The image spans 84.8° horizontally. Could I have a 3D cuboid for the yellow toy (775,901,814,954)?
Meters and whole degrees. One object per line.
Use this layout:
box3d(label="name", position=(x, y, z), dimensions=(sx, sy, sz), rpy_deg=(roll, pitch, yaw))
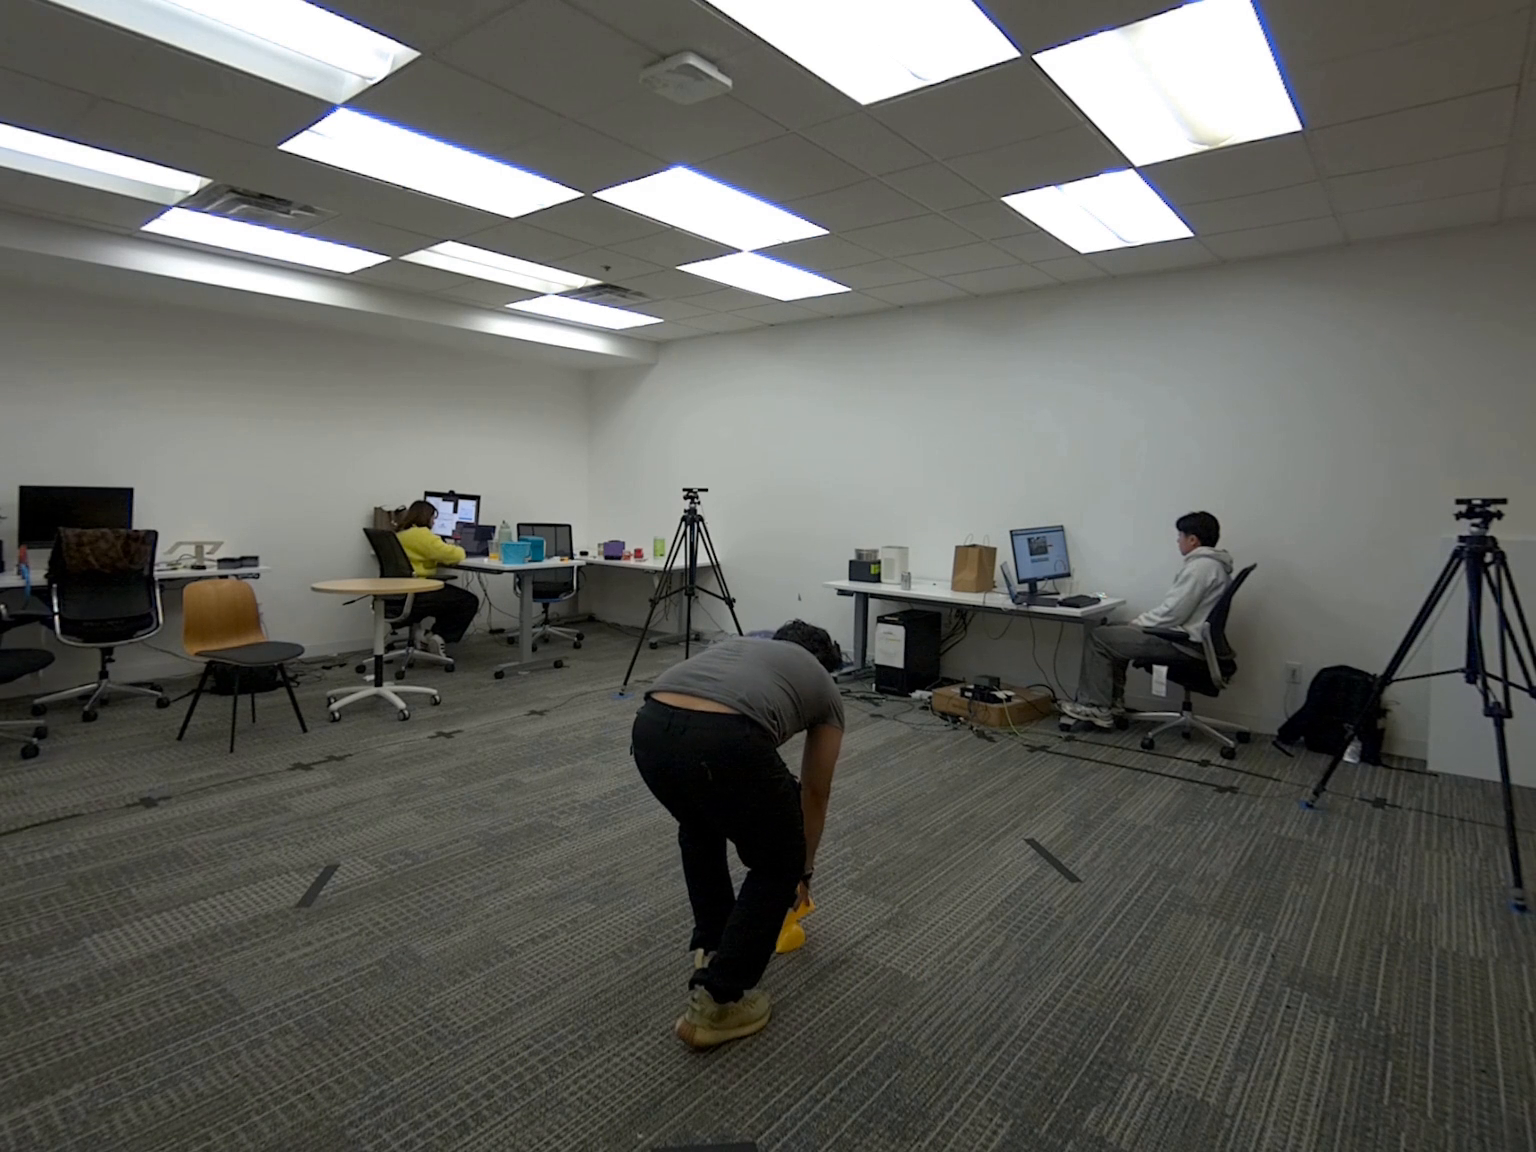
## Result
box3d(label="yellow toy", position=(0.013, 1.004, 2.657), dimensions=(0.211, 0.230, 0.188), rpy_deg=(5, 5, 31))
